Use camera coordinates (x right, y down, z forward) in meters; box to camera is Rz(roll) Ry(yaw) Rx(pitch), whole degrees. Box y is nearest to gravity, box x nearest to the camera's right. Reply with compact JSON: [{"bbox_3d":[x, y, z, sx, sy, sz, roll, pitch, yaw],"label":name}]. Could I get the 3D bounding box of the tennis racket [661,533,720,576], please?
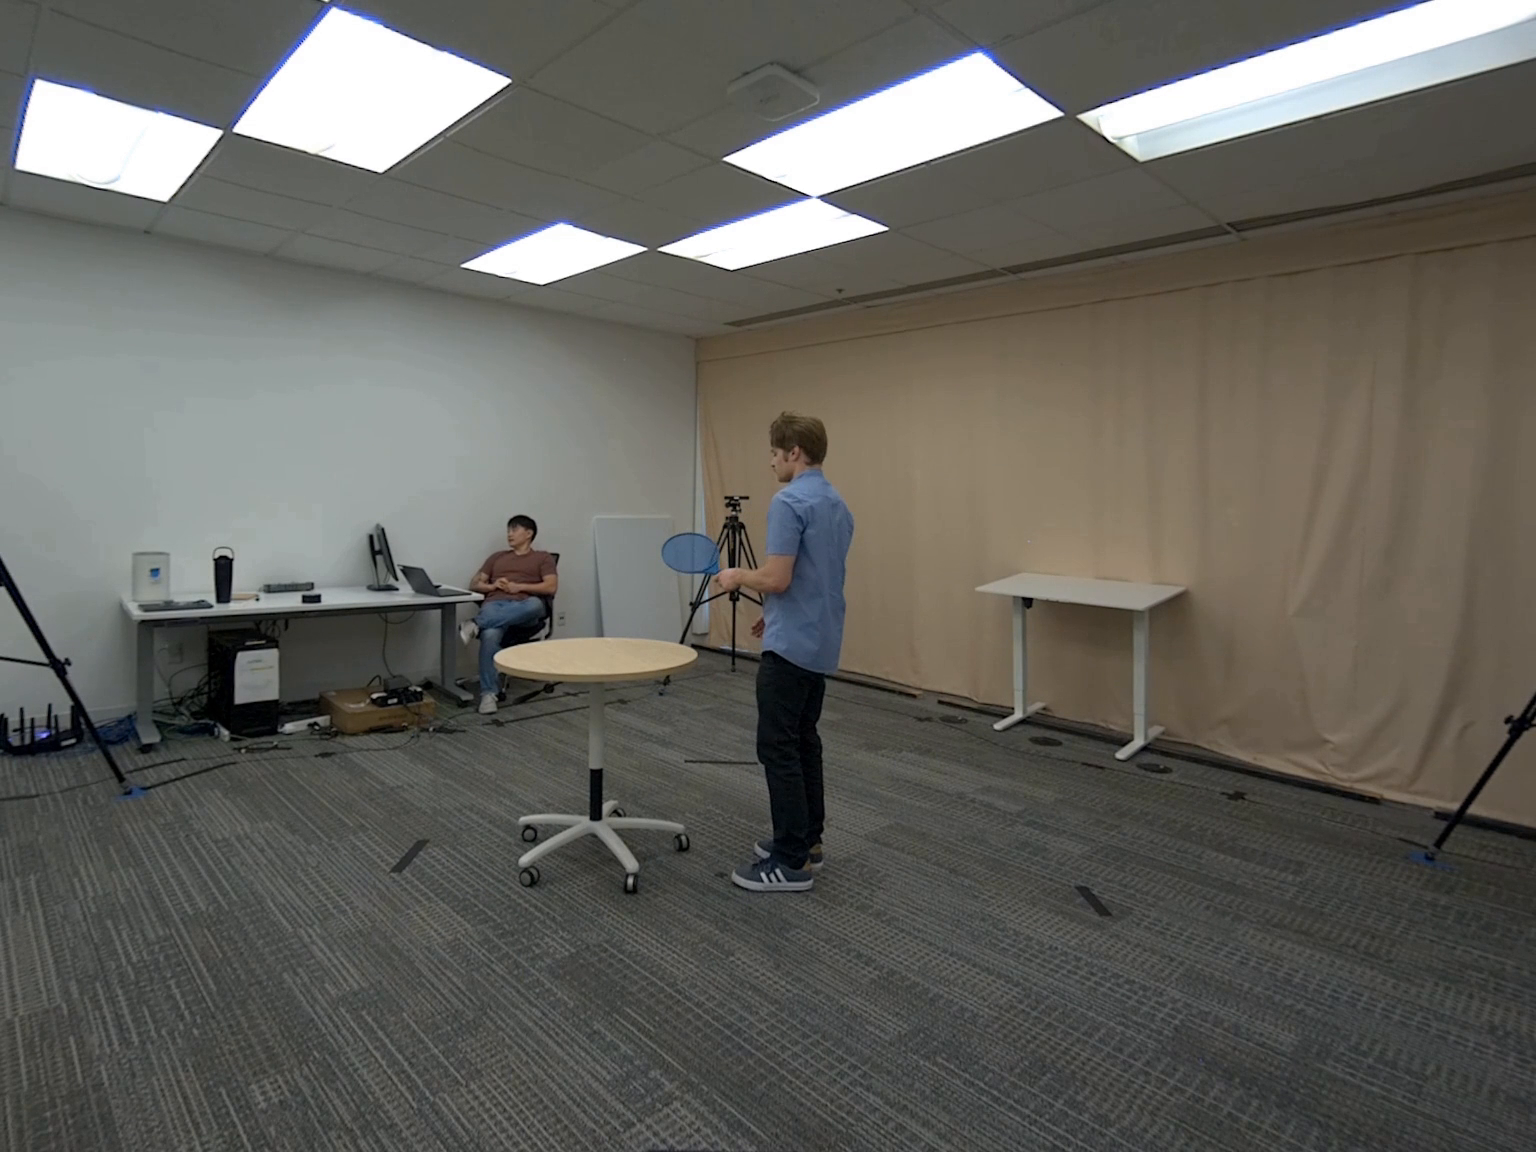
[{"bbox_3d":[-0.264,-0.057,3.360,0.213,0.031,0.446,-37,49,-24],"label":"tennis racket"}]
